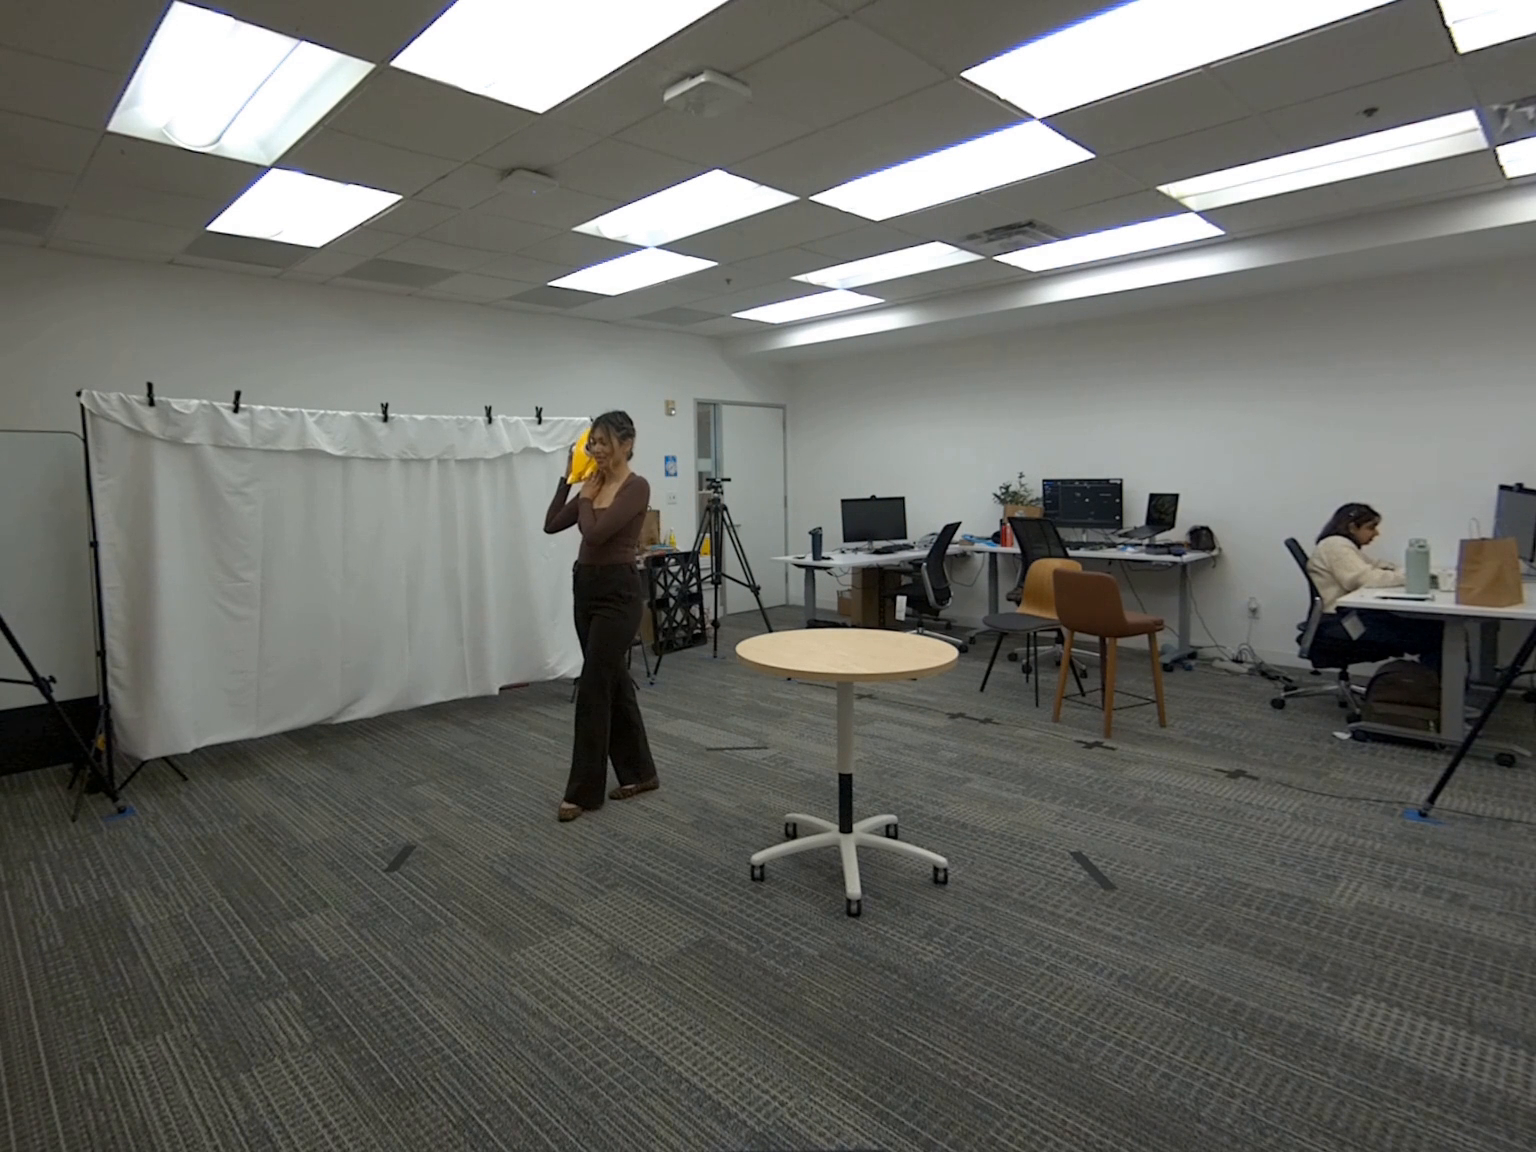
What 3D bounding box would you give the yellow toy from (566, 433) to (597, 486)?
[{"bbox_3d":[-0.815,-0.550,3.825,0.209,0.230,0.189,-11,3,41],"label":"yellow toy"}]
